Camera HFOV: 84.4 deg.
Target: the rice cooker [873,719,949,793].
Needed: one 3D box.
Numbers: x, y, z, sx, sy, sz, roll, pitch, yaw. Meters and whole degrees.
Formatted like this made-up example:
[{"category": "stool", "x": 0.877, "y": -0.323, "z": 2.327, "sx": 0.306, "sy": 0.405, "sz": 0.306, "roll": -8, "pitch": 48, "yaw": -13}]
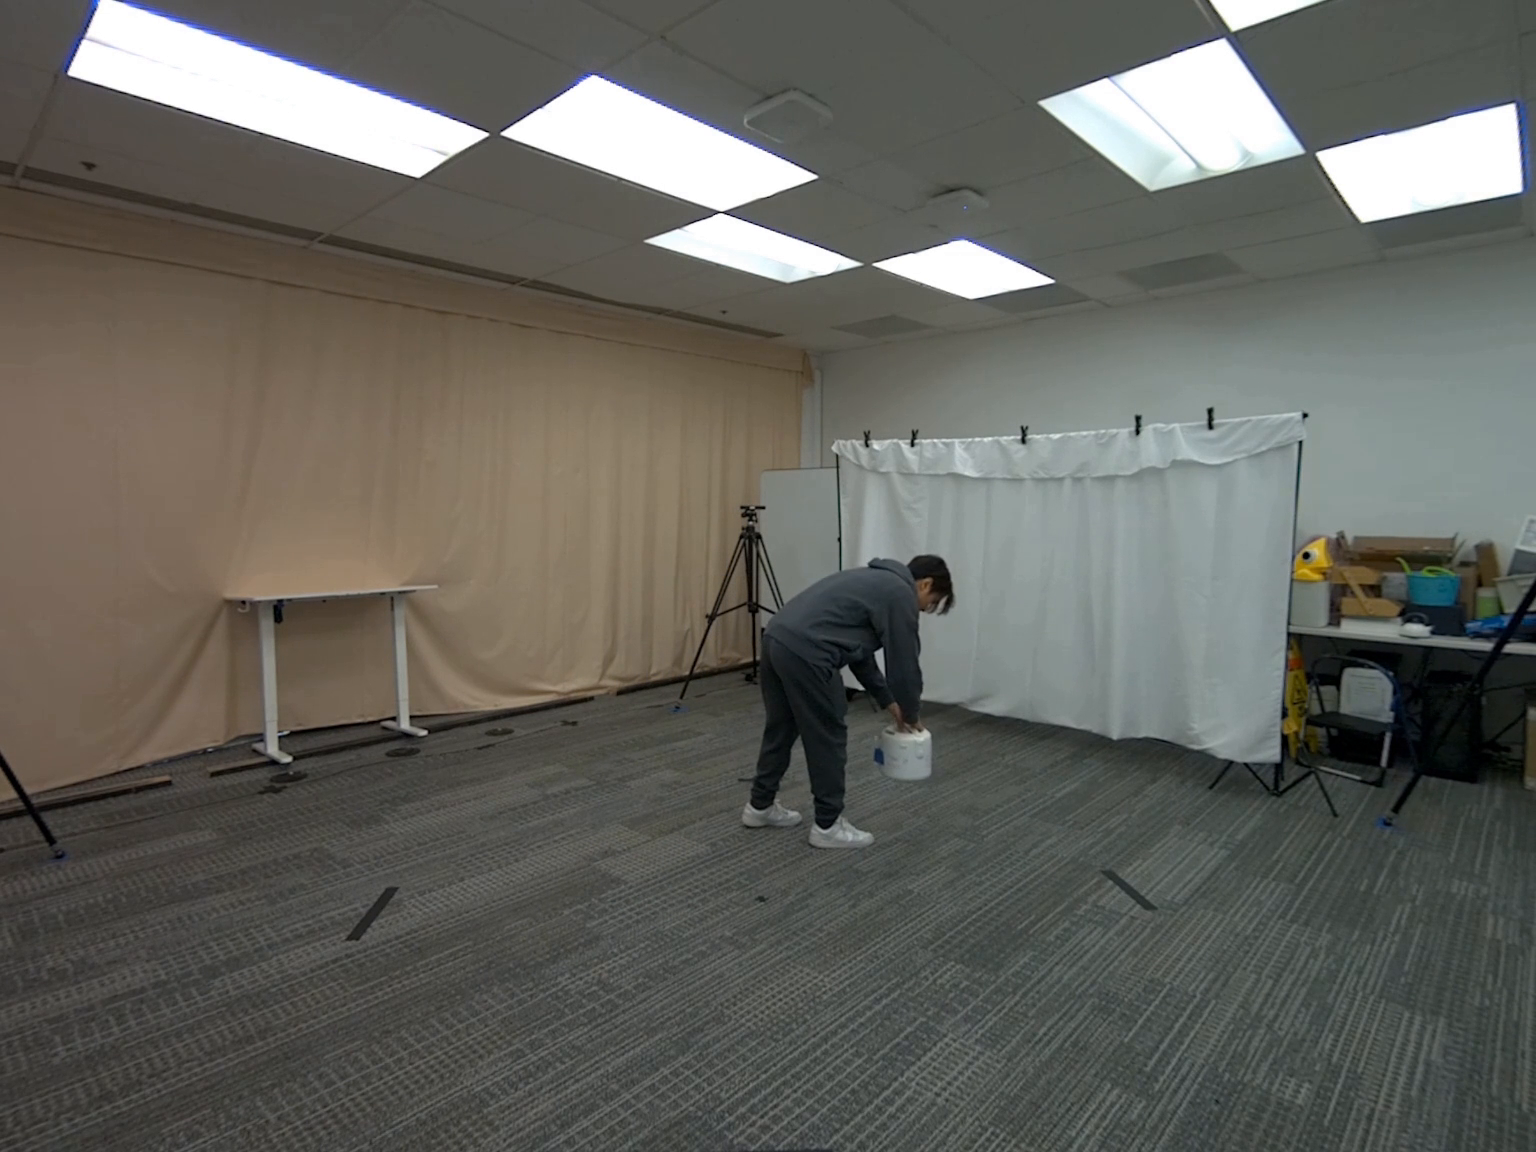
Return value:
[{"category": "rice cooker", "x": 0.595, "y": 0.744, "z": 3.551, "sx": 0.213, "sy": 0.232, "sz": 0.226, "roll": -1, "pitch": 3, "yaw": -21}]
